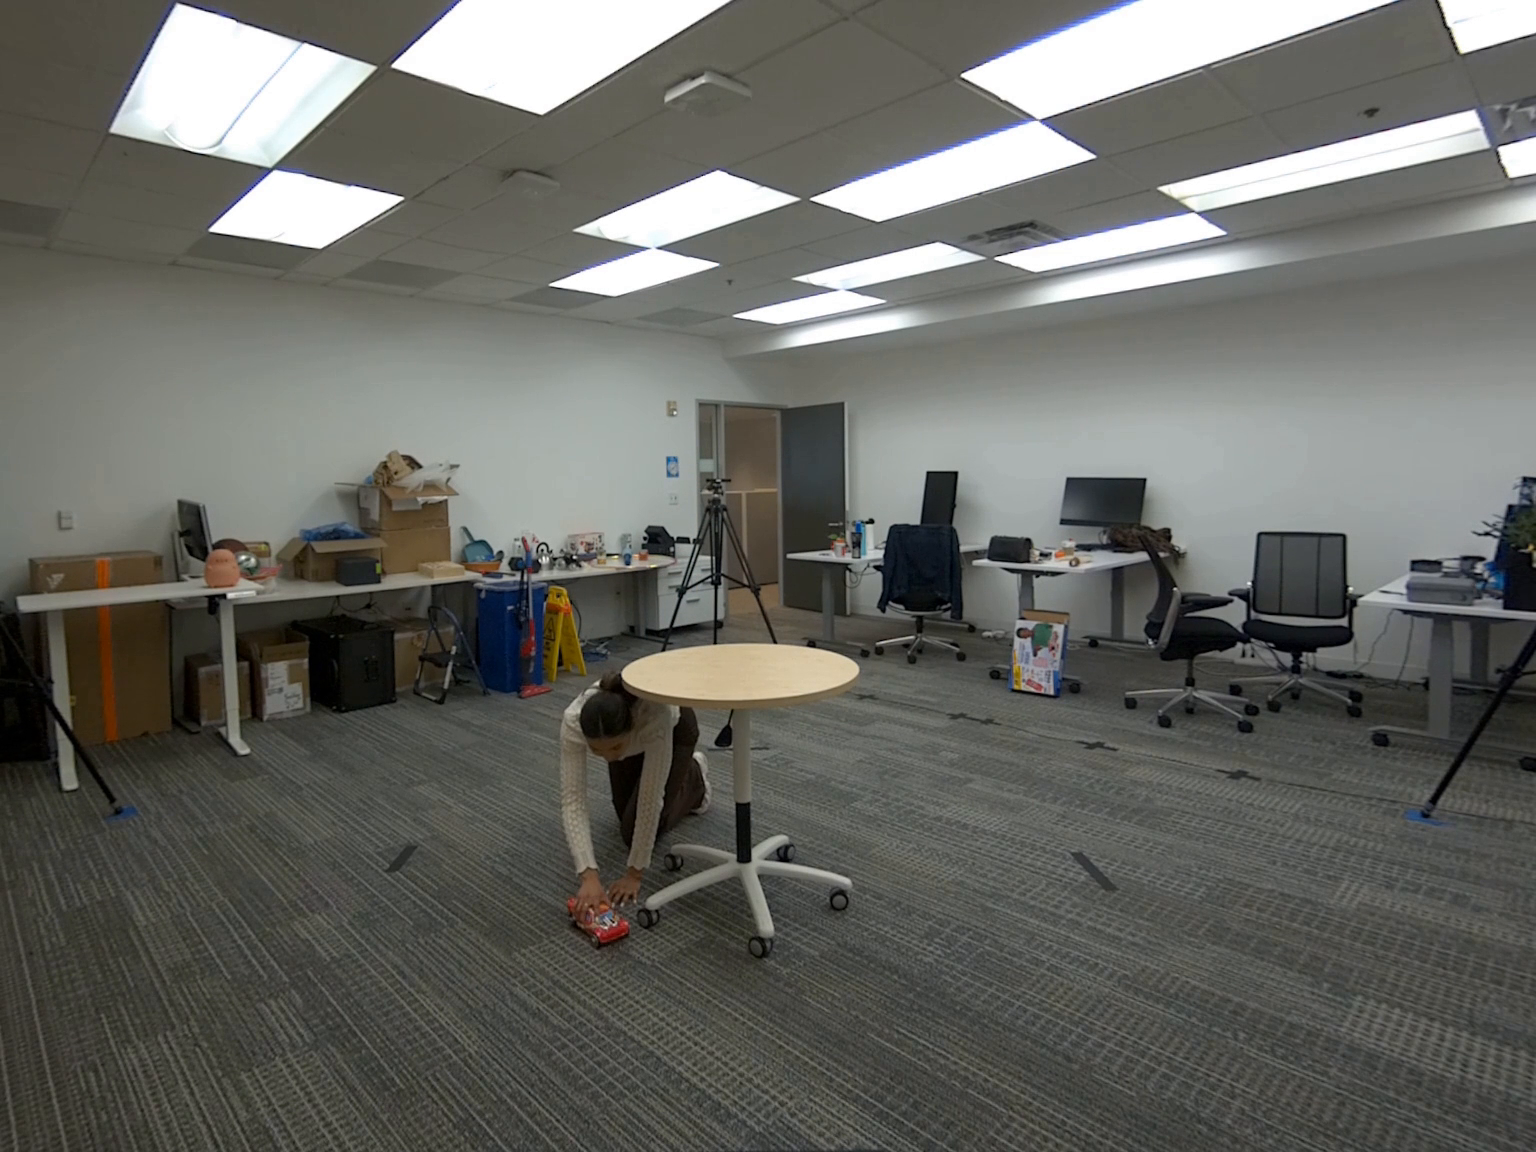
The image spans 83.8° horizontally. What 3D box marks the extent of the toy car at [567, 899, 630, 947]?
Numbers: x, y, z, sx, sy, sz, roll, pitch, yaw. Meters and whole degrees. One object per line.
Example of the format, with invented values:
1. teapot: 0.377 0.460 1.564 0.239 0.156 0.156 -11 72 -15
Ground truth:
1. toy car: -0.544 1.077 2.671 0.127 0.082 0.264 -7 18 -37
